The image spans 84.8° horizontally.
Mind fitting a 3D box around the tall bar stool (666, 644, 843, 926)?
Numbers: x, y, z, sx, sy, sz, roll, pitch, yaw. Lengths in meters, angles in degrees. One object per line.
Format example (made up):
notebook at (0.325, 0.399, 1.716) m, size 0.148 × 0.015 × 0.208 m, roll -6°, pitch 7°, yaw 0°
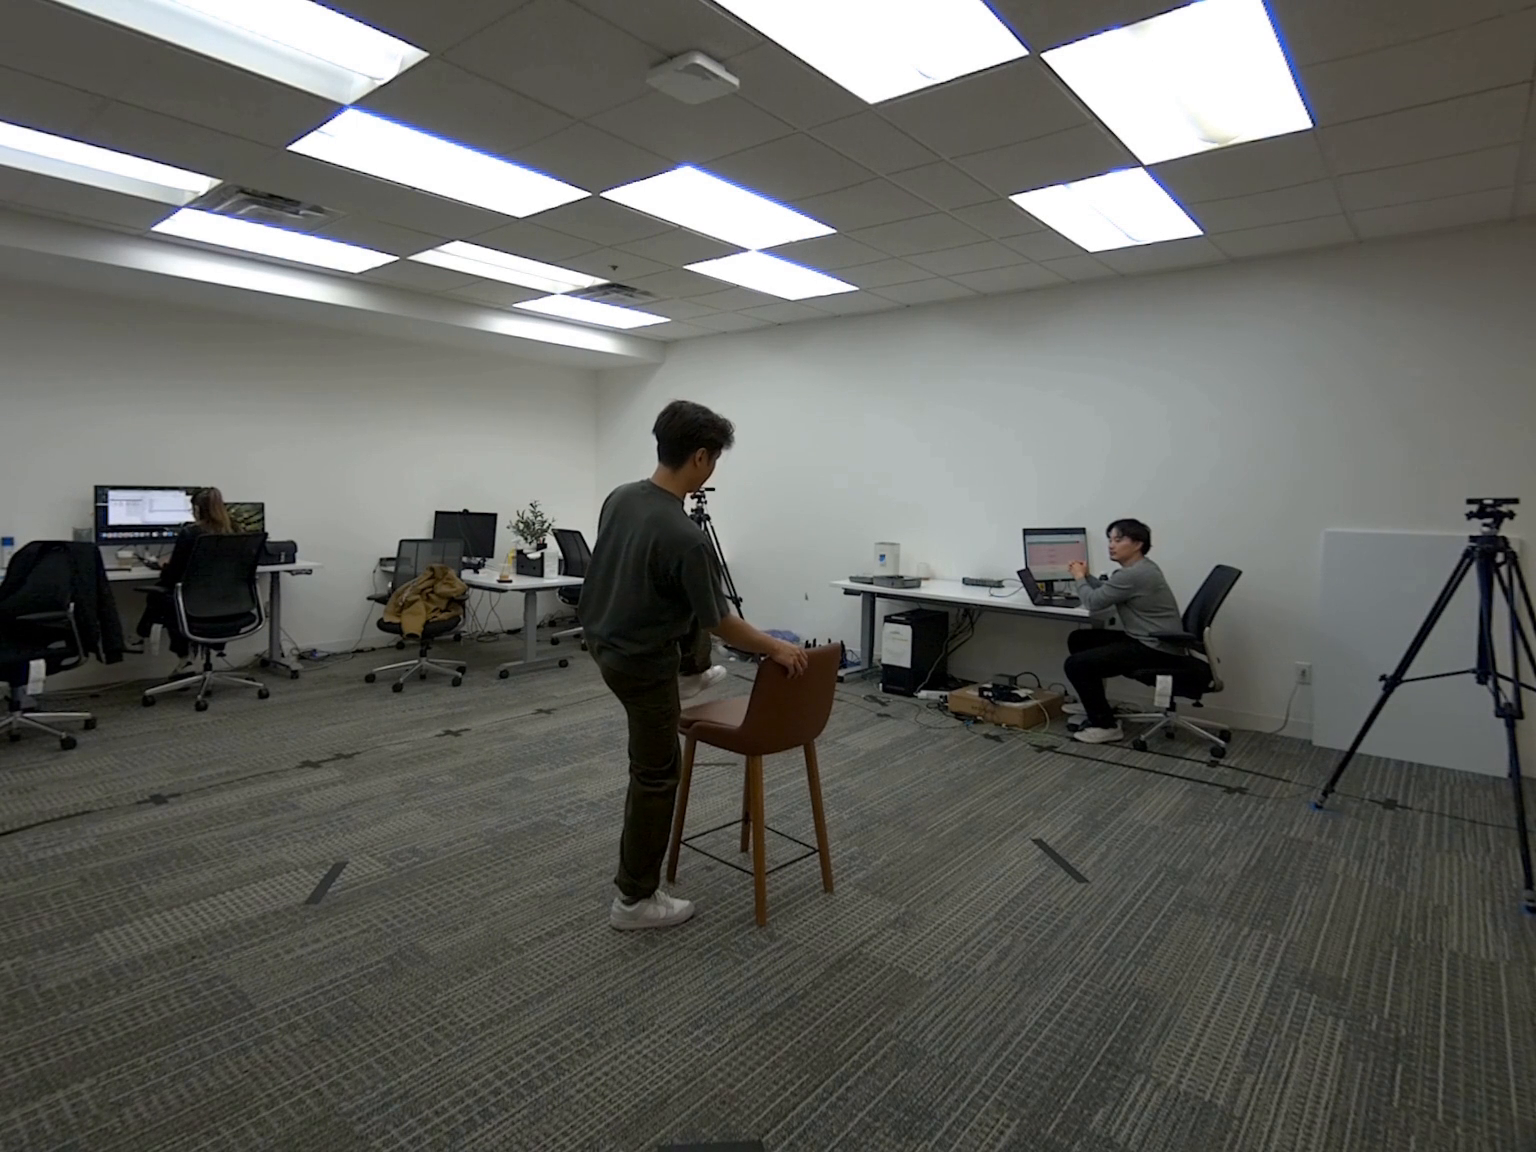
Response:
tall bar stool at (-0.052, 0.643, 2.961) m, size 0.484 × 0.887 × 0.442 m, roll 7°, pitch 5°, yaw 44°
